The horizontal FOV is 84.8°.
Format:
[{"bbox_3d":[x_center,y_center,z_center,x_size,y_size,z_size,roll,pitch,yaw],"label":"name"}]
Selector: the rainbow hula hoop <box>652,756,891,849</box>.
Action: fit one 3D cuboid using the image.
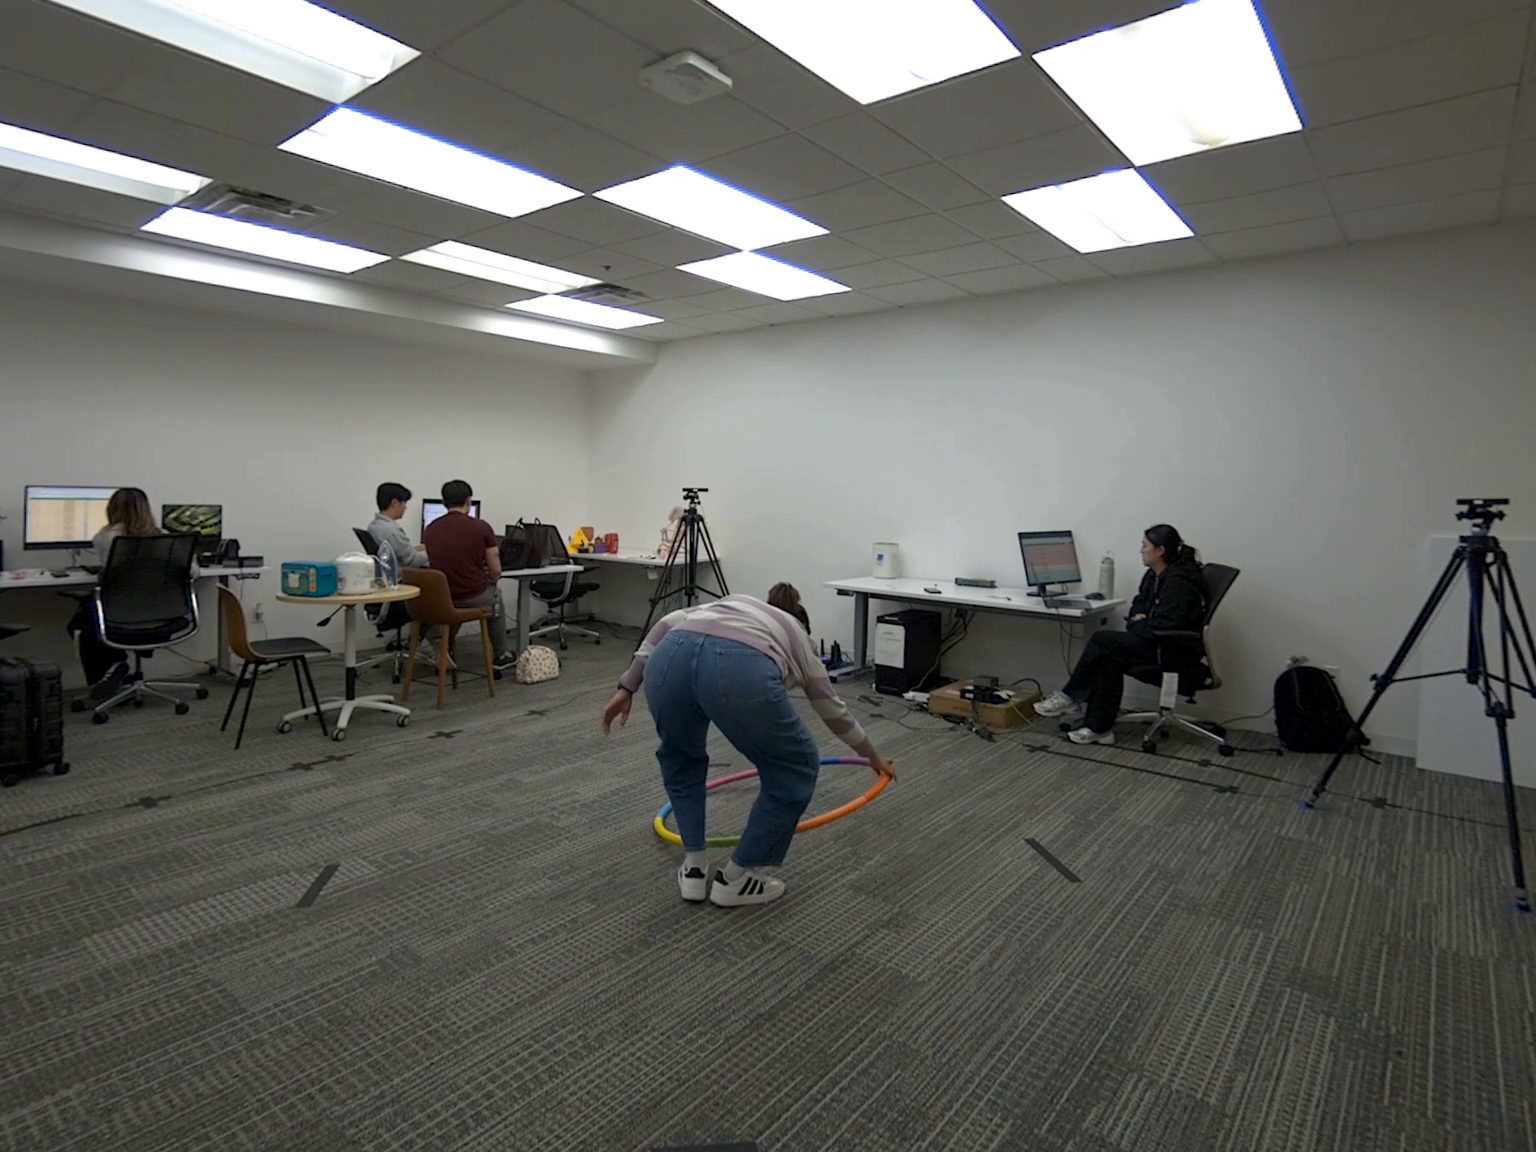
[{"bbox_3d":[0.001,0.901,3.505,0.984,0.051,0.986,-13,2,-2],"label":"rainbow hula hoop"}]
